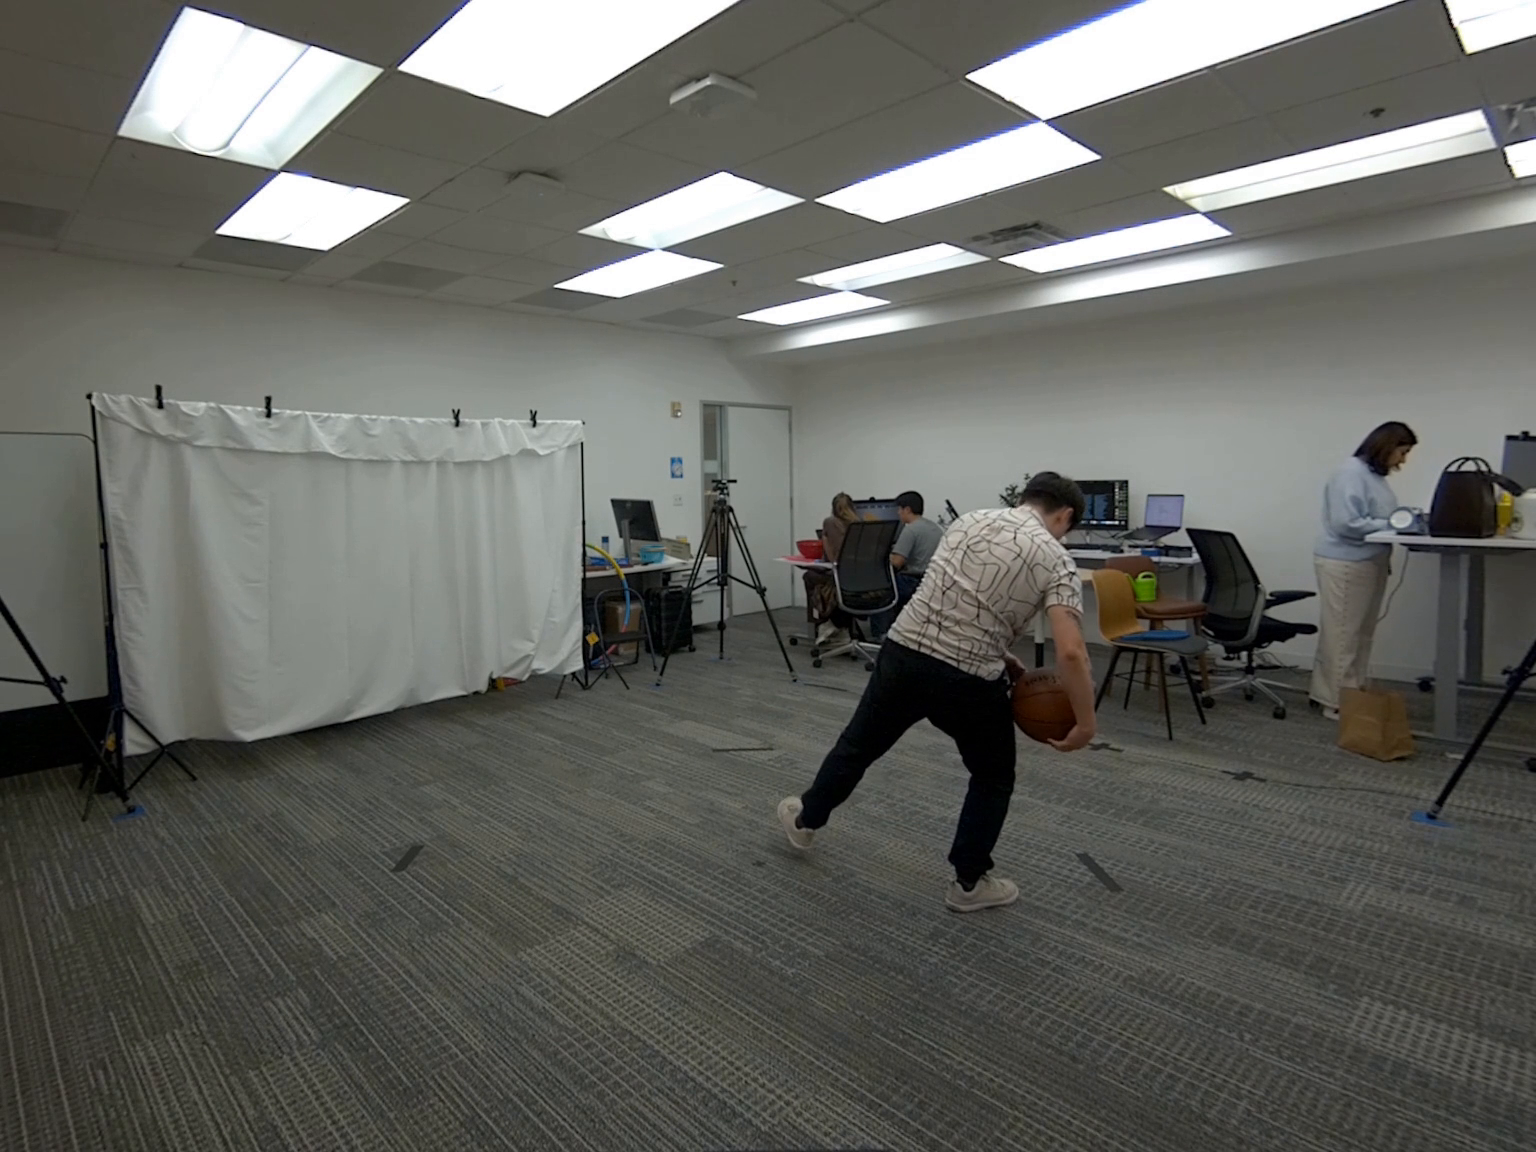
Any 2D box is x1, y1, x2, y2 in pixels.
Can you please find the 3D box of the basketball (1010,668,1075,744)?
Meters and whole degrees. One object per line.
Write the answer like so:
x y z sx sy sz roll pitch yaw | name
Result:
0.888 0.403 2.681 0.236 0.235 0.237 -1 5 -2 | basketball
